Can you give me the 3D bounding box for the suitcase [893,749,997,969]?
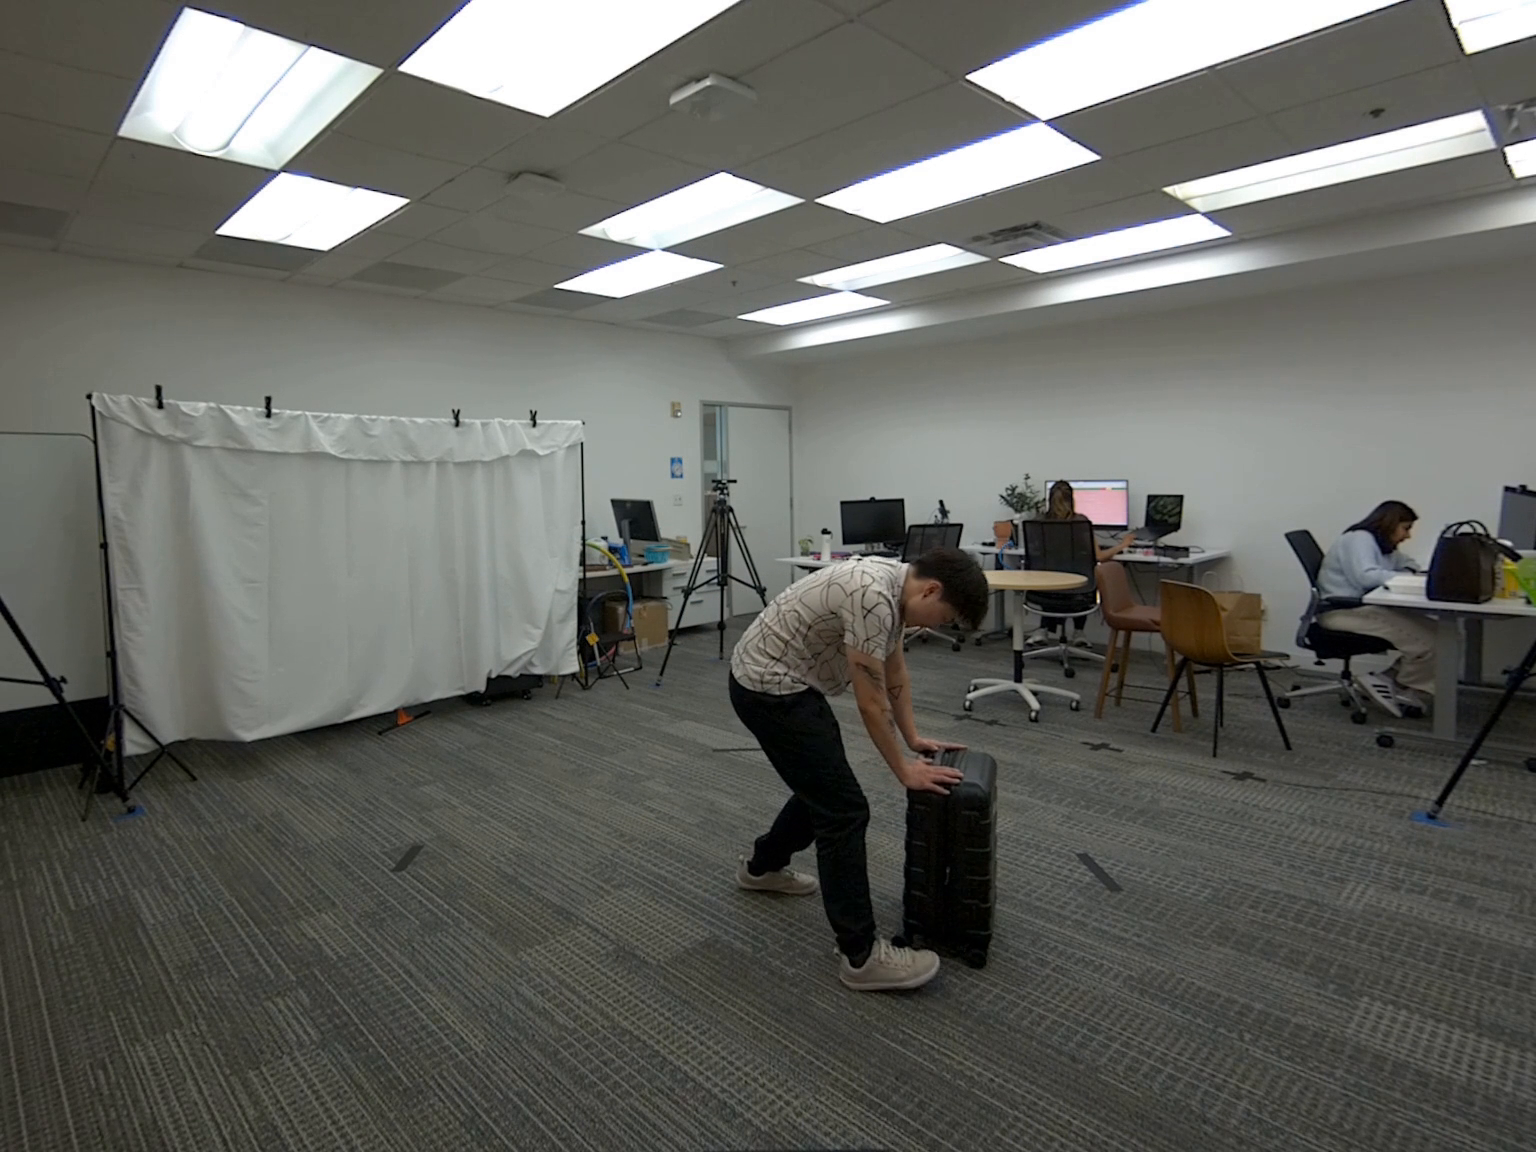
[{"bbox_3d":[0.558,0.821,2.599,0.253,0.547,0.370,2,6,18],"label":"suitcase"}]
